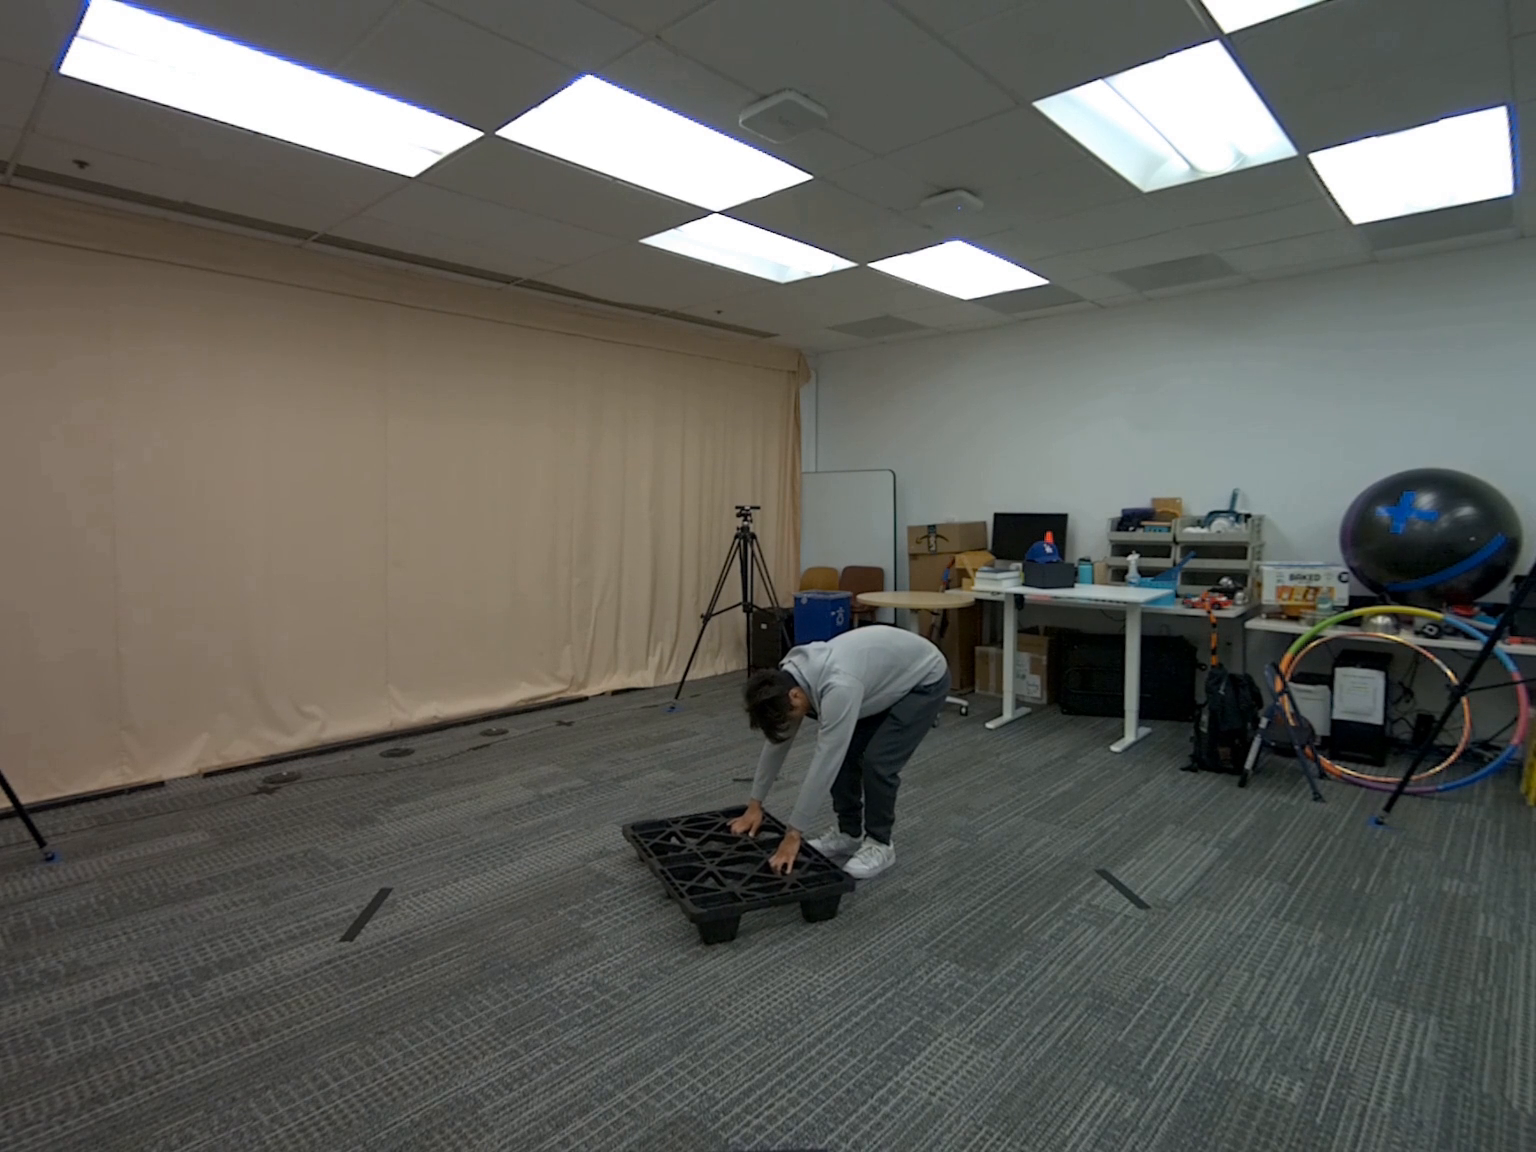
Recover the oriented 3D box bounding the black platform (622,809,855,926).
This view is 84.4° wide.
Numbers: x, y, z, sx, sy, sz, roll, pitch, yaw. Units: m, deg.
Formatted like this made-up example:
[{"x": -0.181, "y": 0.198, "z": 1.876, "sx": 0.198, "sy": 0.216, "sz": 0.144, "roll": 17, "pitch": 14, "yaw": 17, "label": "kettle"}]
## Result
[{"x": -0.136, "y": 1.066, "z": 3.089, "sx": 0.591, "sy": 0.143, "sz": 0.826, "roll": -2, "pitch": 5, "yaw": -24, "label": "black platform"}]
